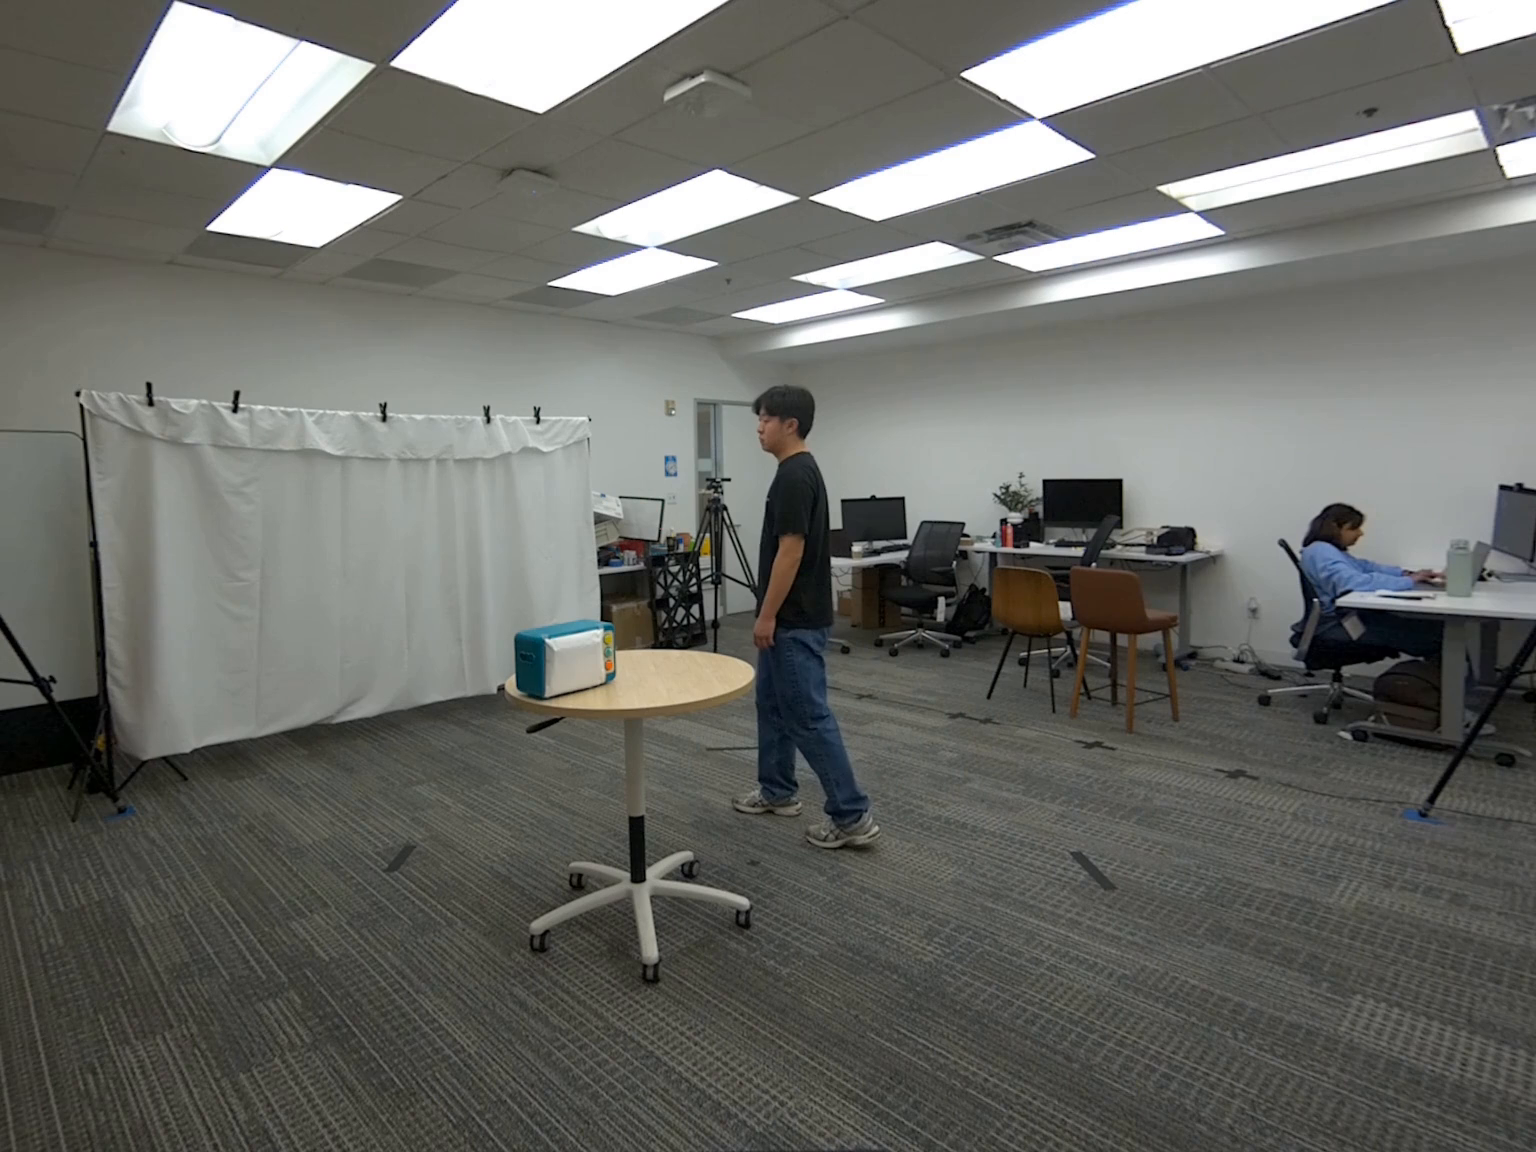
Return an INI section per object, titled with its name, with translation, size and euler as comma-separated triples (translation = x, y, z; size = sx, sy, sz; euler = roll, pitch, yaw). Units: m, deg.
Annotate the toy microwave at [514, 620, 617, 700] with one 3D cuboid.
[toy microwave]
translation = -0.578, 0.239, 2.484
size = 0.157, 0.183, 0.279
euler = 3, 7, 39
